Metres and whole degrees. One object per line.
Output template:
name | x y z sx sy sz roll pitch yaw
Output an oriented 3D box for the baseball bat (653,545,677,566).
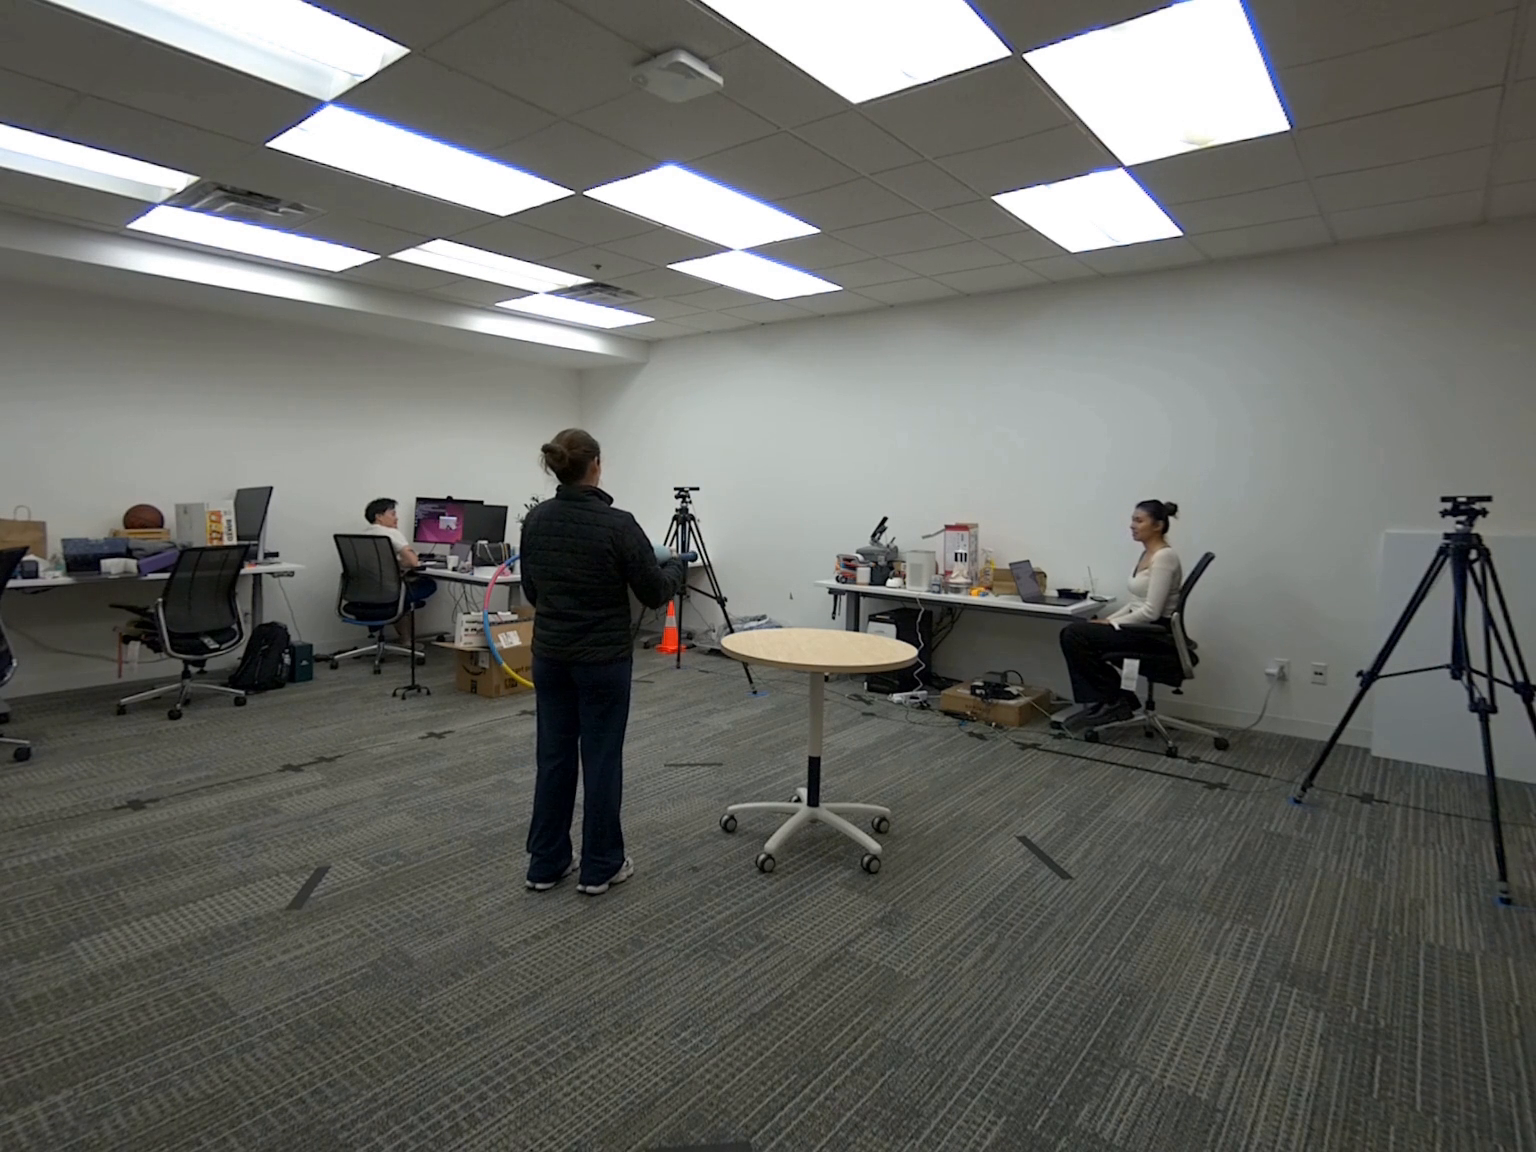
baseball bat | -0.369 -0.072 3.296 0.091 0.089 0.532 2 0 16
